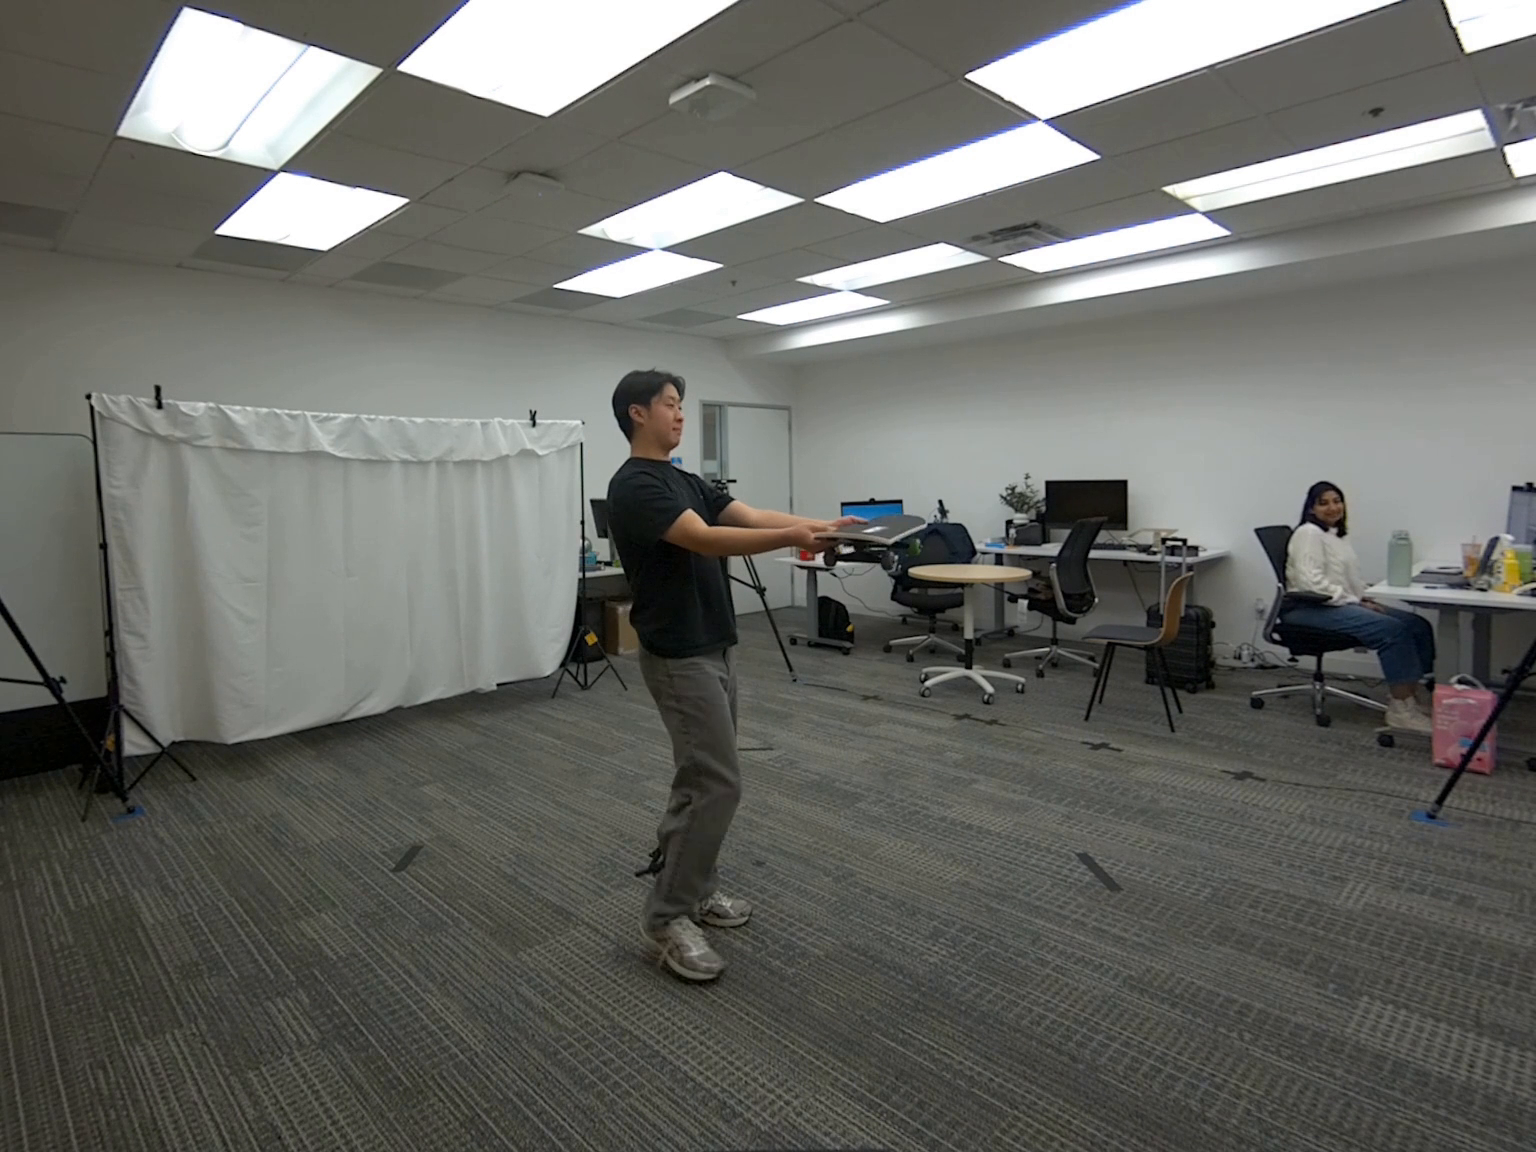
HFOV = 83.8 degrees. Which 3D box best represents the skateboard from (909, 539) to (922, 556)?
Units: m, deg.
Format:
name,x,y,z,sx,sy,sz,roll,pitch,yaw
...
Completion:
name,x,y,z,sx,sy,sz,roll,pitch,yaw
skateboard,0.282,-0.092,2.422,0.197,0.110,0.774,1,7,20
